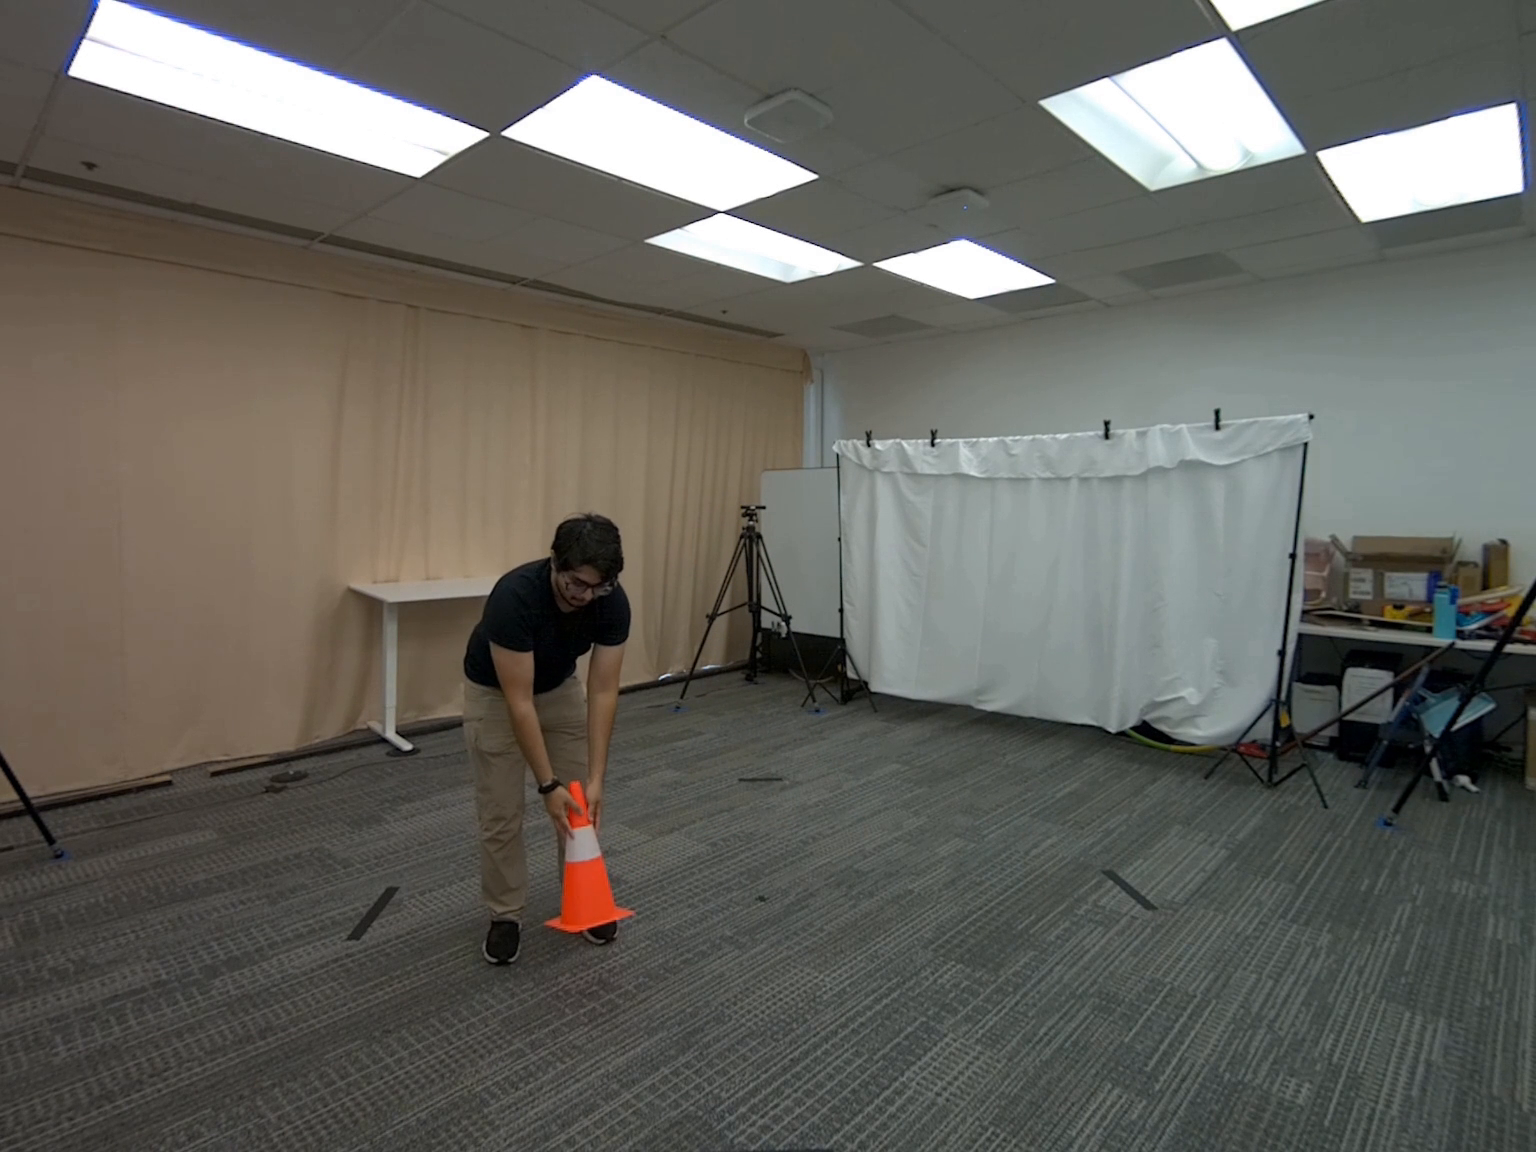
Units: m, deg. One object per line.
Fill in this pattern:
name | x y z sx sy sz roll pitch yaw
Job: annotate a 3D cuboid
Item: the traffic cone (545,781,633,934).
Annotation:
traffic cone | -0.538 0.797 2.421 0.210 0.386 0.197 -14 -11 39
